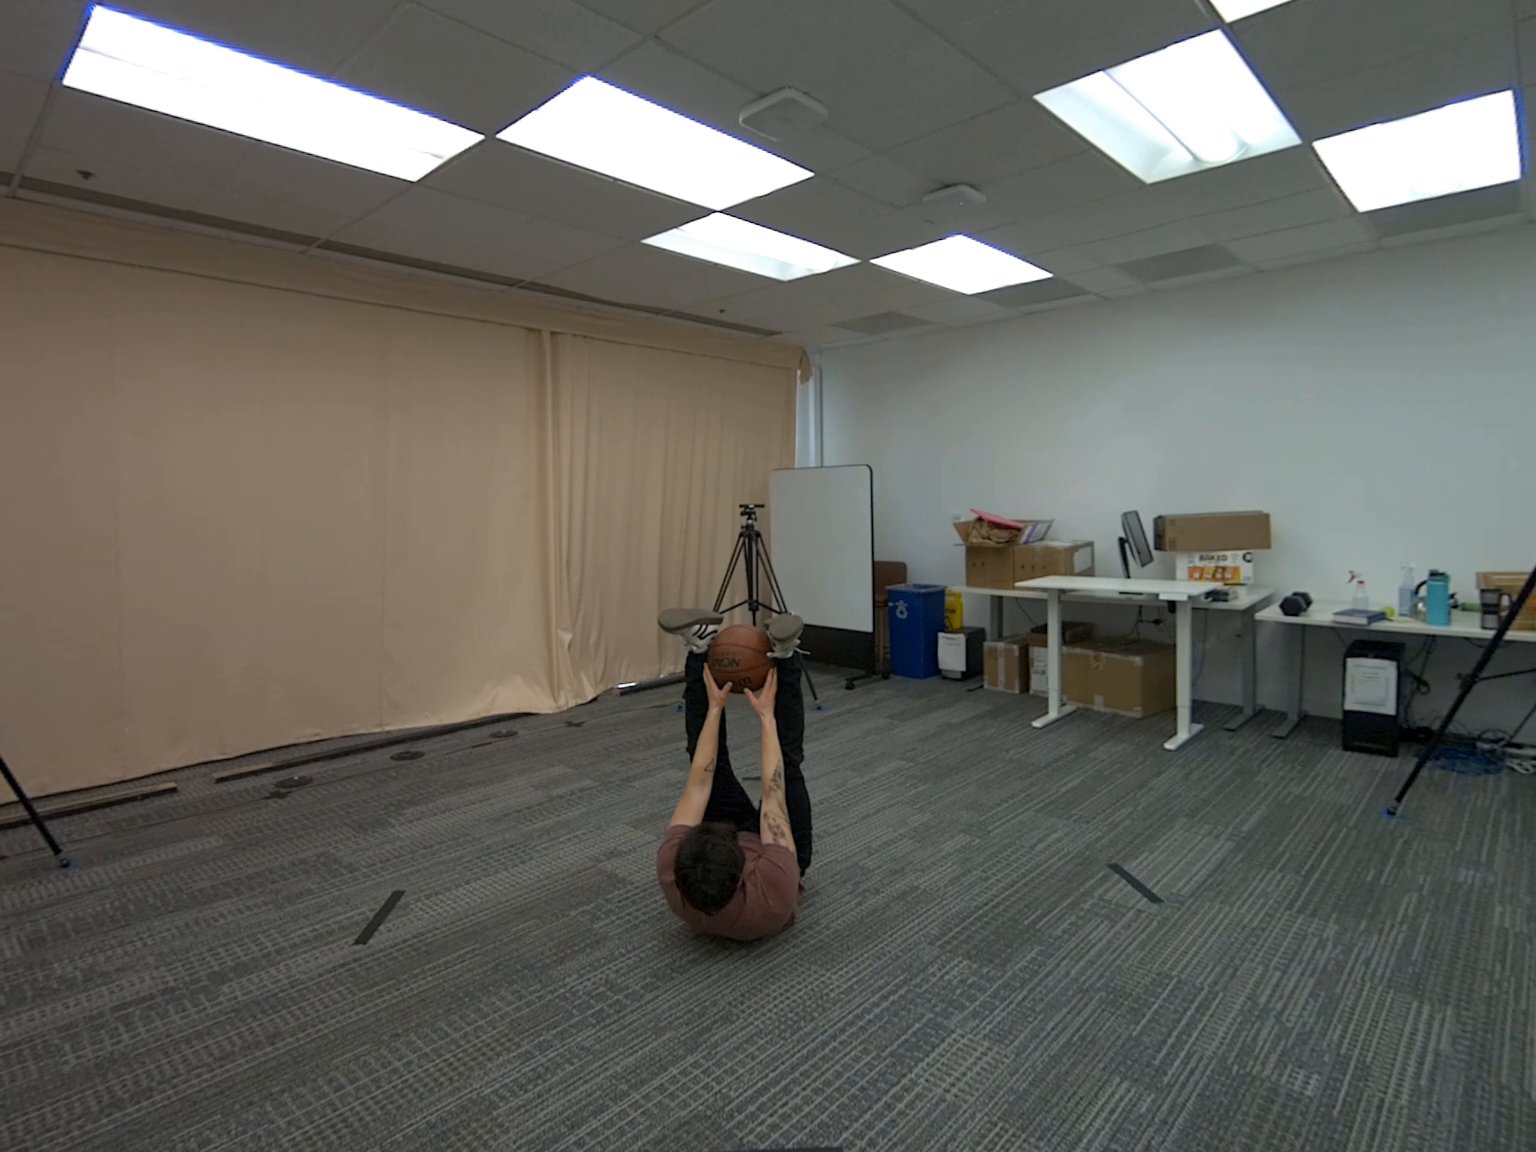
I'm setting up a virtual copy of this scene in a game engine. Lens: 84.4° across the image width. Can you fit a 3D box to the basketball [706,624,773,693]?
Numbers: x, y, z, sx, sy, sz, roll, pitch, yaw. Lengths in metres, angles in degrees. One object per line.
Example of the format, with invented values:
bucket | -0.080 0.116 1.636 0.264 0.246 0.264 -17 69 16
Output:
basketball | -0.087 0.287 2.863 0.235 0.235 0.237 3 5 -2
